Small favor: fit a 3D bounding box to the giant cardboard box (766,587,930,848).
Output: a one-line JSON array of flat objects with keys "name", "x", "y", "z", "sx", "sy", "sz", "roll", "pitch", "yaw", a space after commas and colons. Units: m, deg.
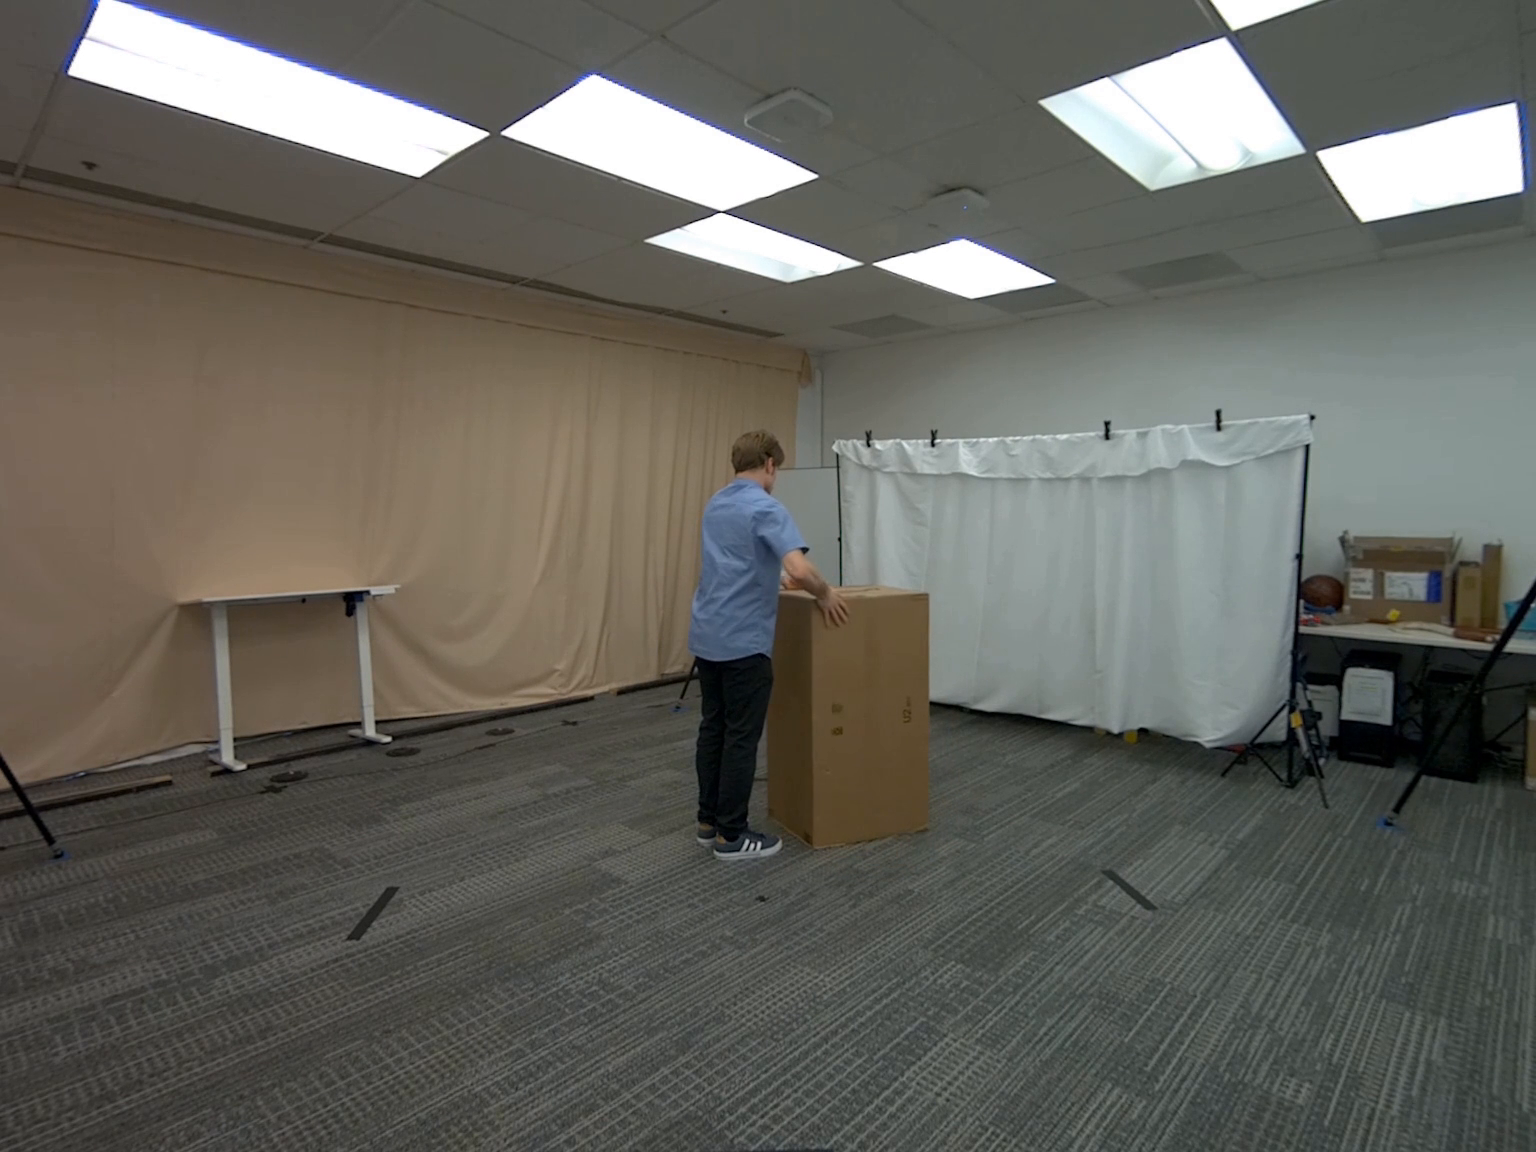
[{"name": "giant cardboard box", "x": 0.344, "y": 0.577, "z": 3.680, "sx": 0.564, "sy": 1.024, "sz": 0.437, "roll": -1, "pitch": 3, "yaw": -24}]
